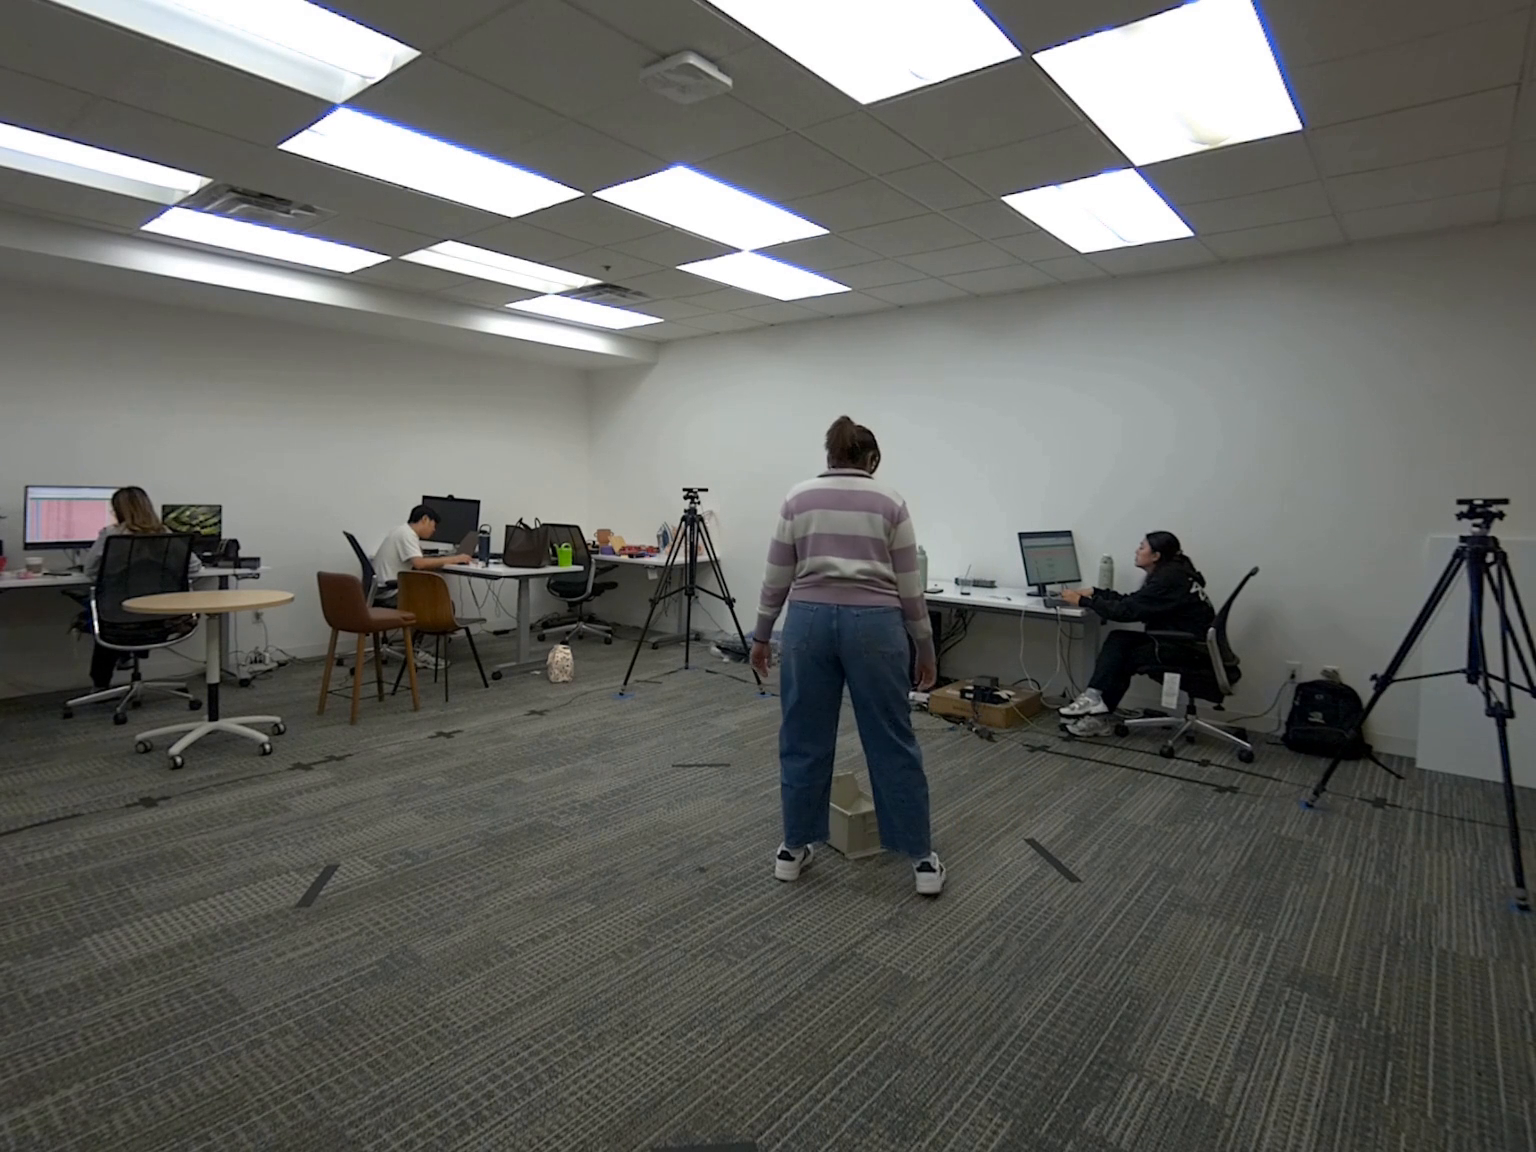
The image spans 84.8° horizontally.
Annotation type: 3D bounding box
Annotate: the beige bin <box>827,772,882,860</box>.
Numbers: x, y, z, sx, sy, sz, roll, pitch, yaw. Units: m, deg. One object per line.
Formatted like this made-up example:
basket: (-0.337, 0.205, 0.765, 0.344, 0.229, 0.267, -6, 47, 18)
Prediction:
beige bin: (0.342, 0.956, 3.474, 0.367, 0.188, 0.436, -3, 7, -32)
